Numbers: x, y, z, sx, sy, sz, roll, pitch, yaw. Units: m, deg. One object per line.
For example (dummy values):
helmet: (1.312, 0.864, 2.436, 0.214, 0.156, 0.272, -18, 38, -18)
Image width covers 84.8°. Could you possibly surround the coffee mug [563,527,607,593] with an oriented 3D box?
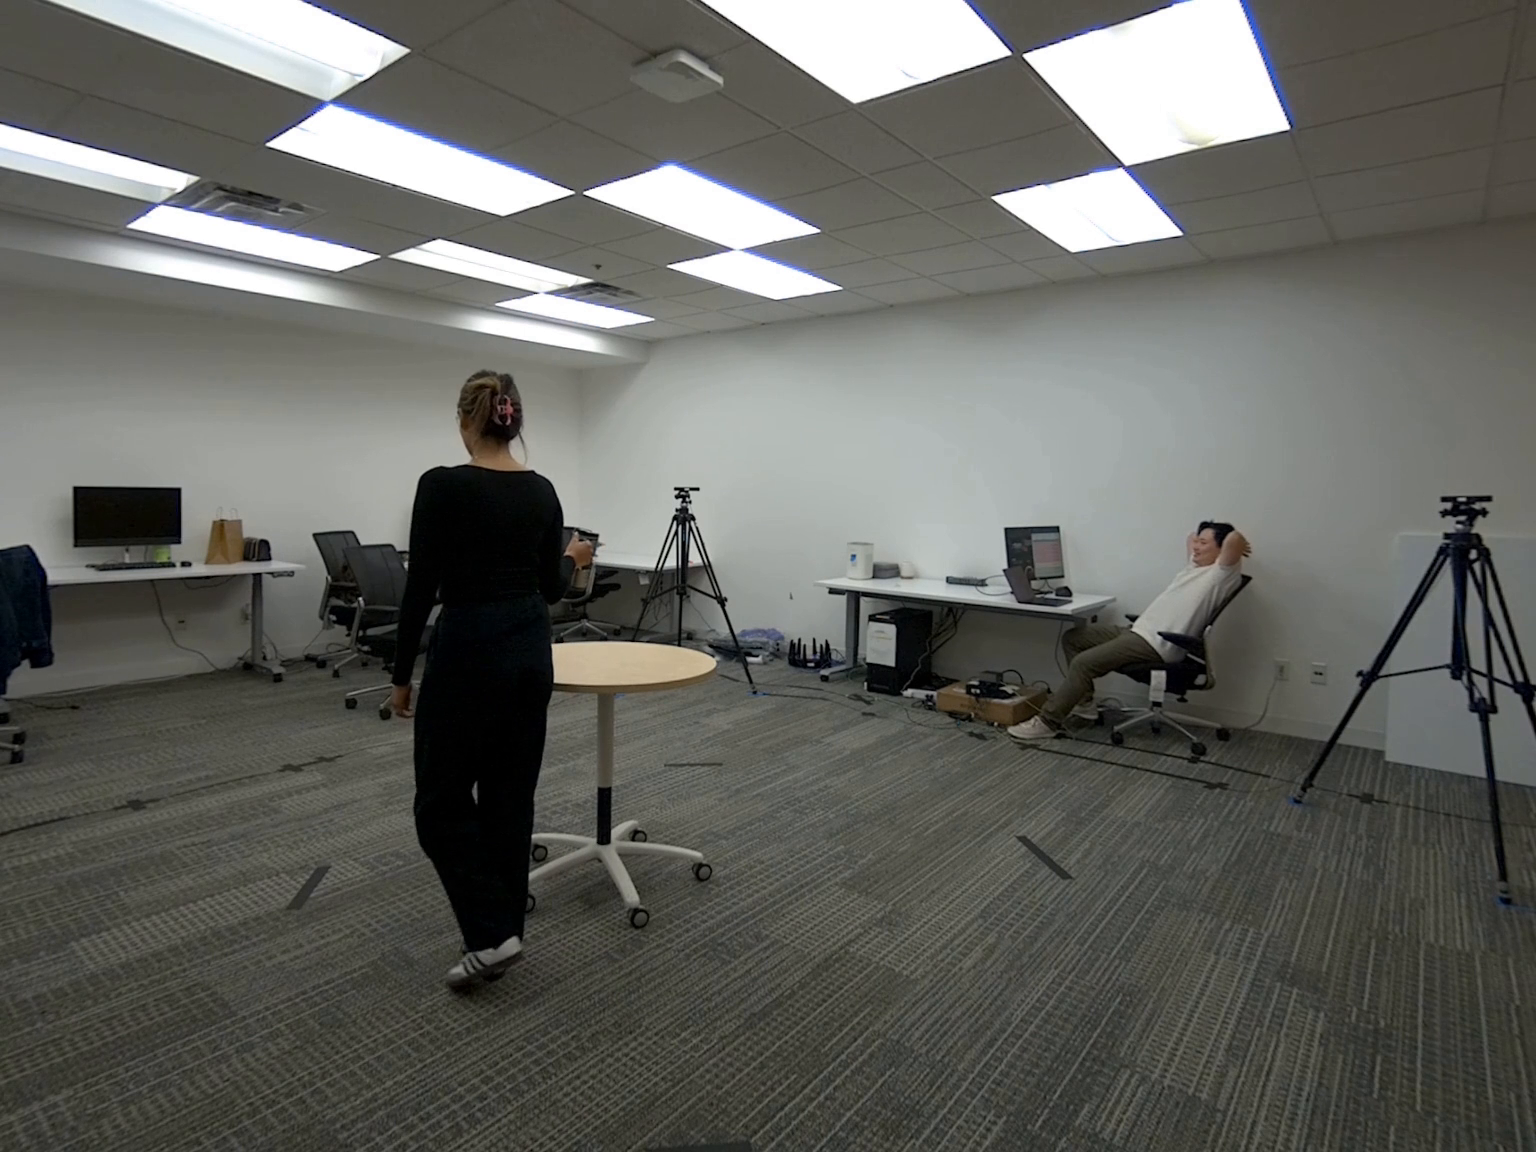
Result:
coffee mug: (-0.645, -0.055, 2.853, 0.091, 0.202, 0.118, 17, 7, 32)
